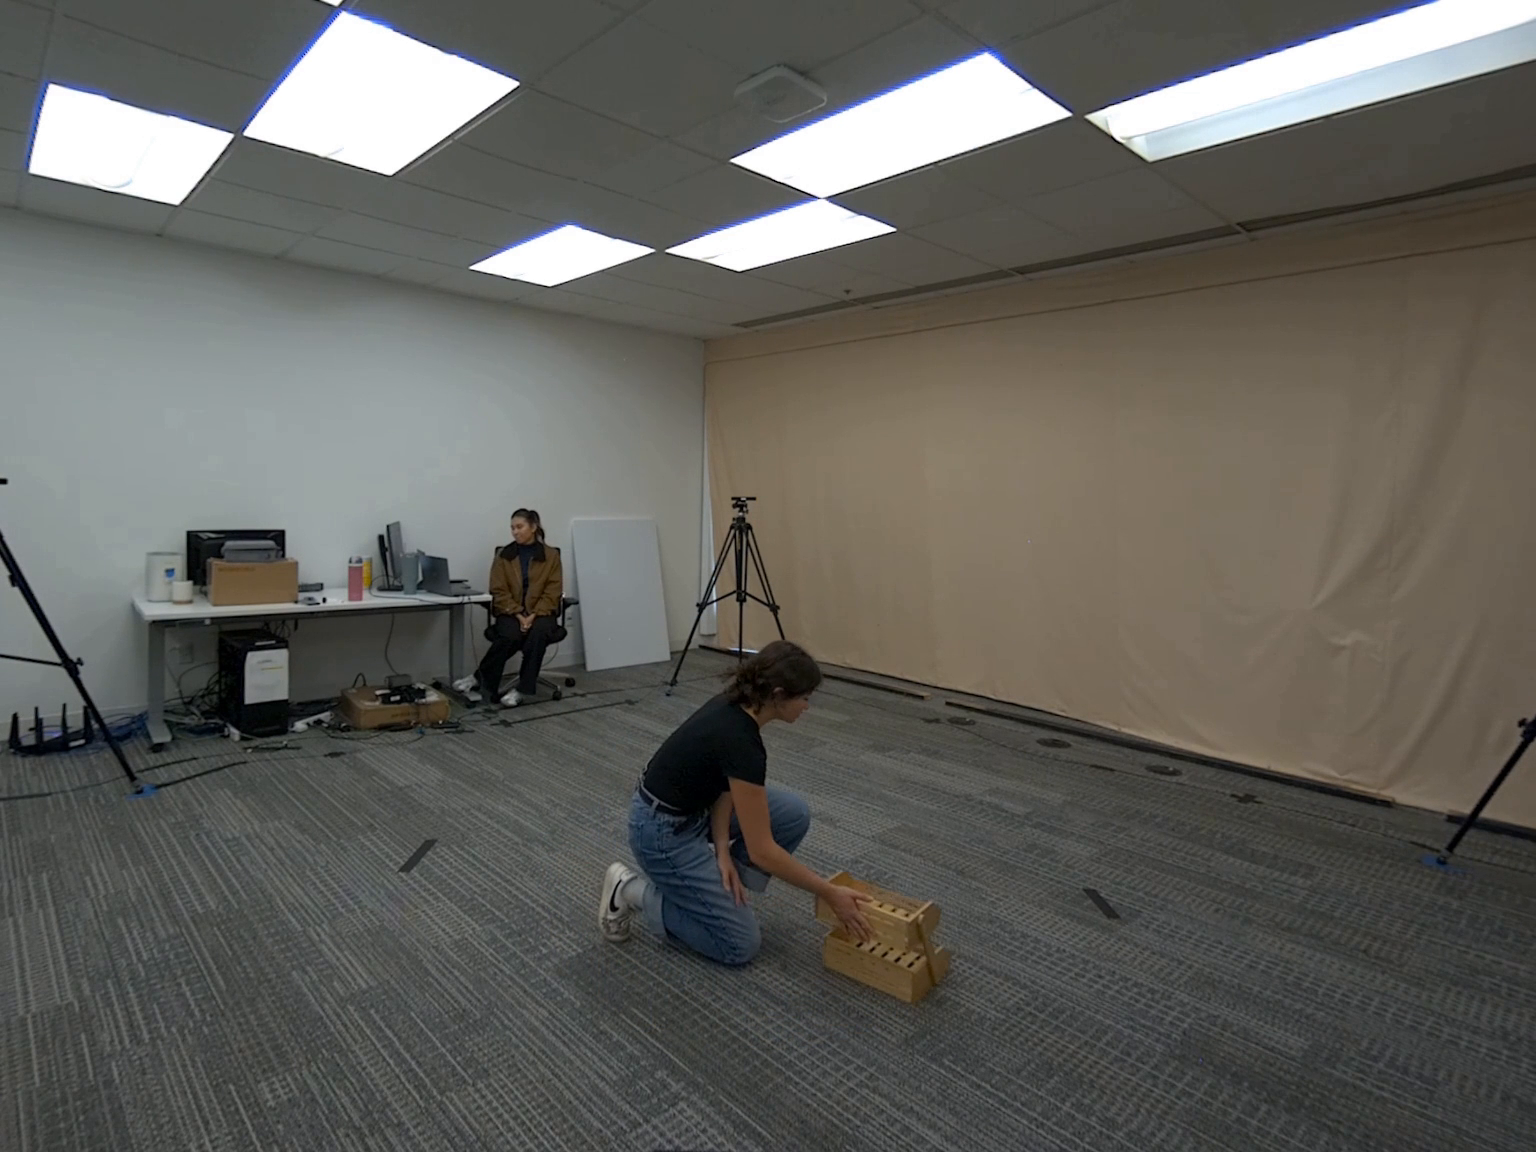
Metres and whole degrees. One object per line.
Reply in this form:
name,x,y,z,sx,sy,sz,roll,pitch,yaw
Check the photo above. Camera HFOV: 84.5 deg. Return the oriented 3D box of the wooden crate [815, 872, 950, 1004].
wooden crate,0.341,1.040,2.493,0.332,0.272,0.295,5,6,37
